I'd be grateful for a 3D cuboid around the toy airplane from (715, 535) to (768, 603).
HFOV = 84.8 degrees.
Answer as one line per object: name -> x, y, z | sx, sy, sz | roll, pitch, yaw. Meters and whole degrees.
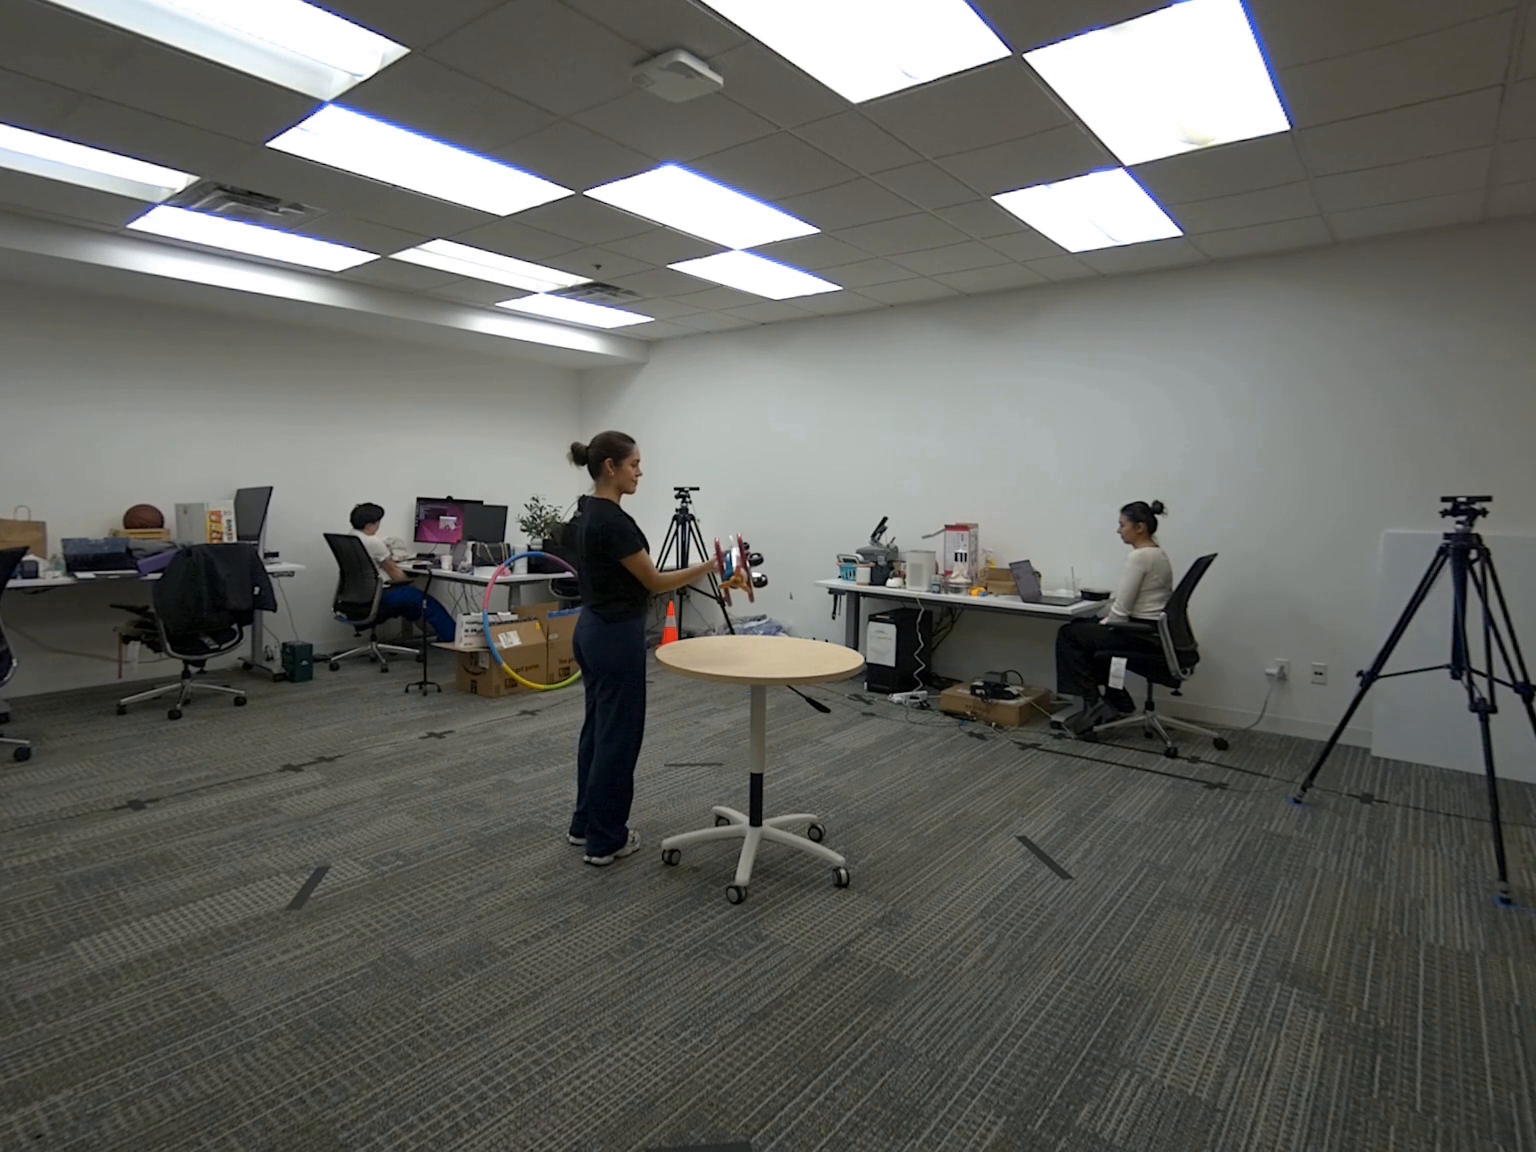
toy airplane -> -0.096, -0.030, 2.988 | 0.155, 0.252, 0.261 | -12, -2, -12
